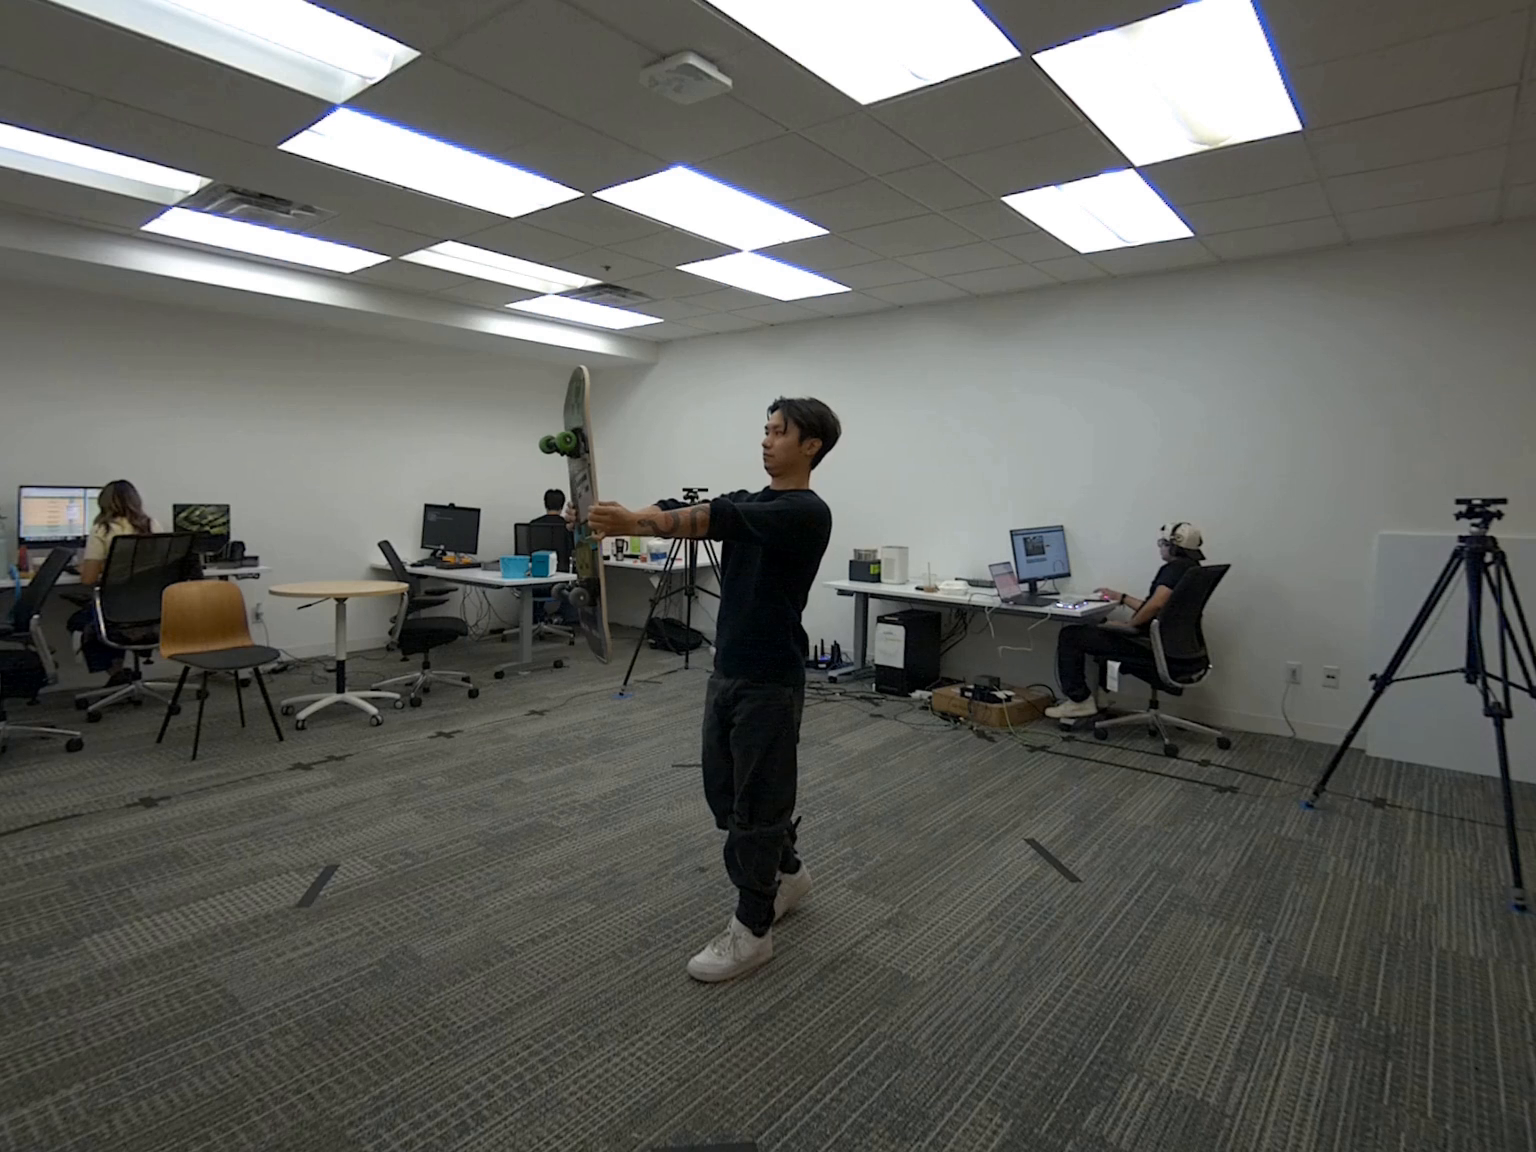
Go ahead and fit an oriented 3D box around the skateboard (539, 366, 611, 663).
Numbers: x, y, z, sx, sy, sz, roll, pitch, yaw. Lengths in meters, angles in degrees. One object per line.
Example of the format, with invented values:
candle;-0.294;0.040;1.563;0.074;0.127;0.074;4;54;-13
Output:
skateboard;-0.512;-0.151;2.238;0.108;0.782;0.198;-5;4;-26
